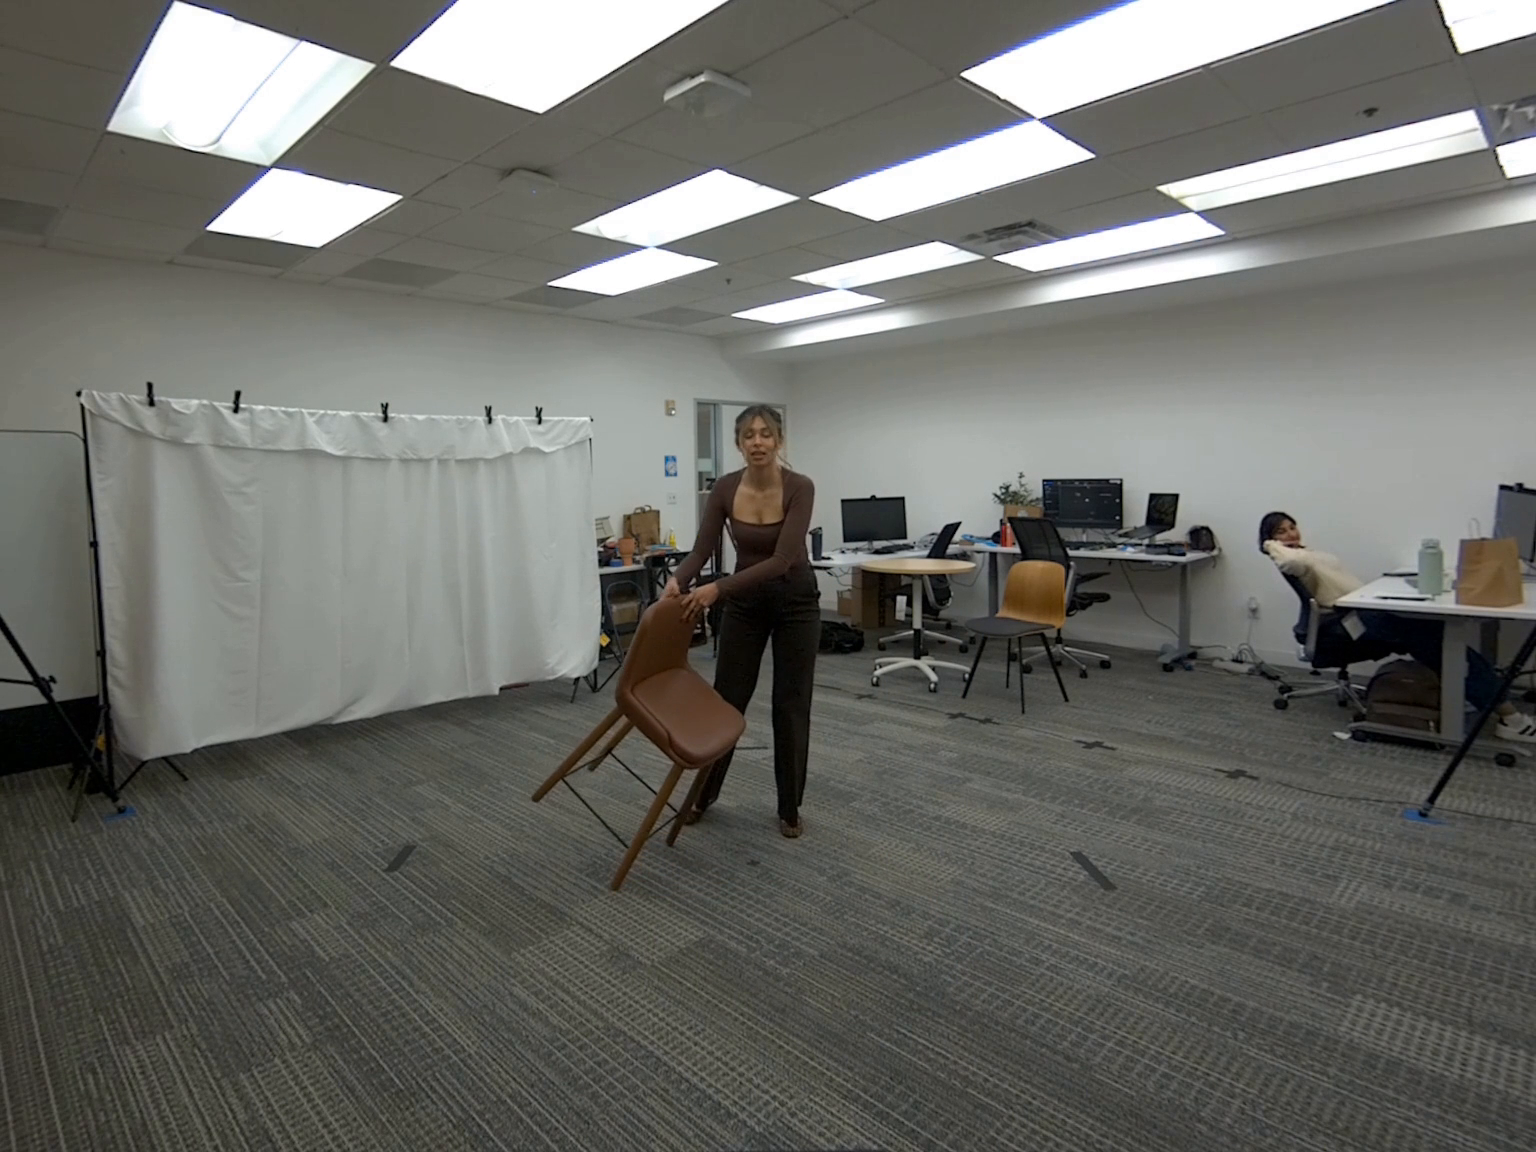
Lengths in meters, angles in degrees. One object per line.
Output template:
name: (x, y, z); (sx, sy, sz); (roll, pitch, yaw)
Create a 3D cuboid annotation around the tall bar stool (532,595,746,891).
tall bar stool: (-0.391, 0.571, 3.026); (0.479, 0.885, 0.448); (37, 18, 18)
